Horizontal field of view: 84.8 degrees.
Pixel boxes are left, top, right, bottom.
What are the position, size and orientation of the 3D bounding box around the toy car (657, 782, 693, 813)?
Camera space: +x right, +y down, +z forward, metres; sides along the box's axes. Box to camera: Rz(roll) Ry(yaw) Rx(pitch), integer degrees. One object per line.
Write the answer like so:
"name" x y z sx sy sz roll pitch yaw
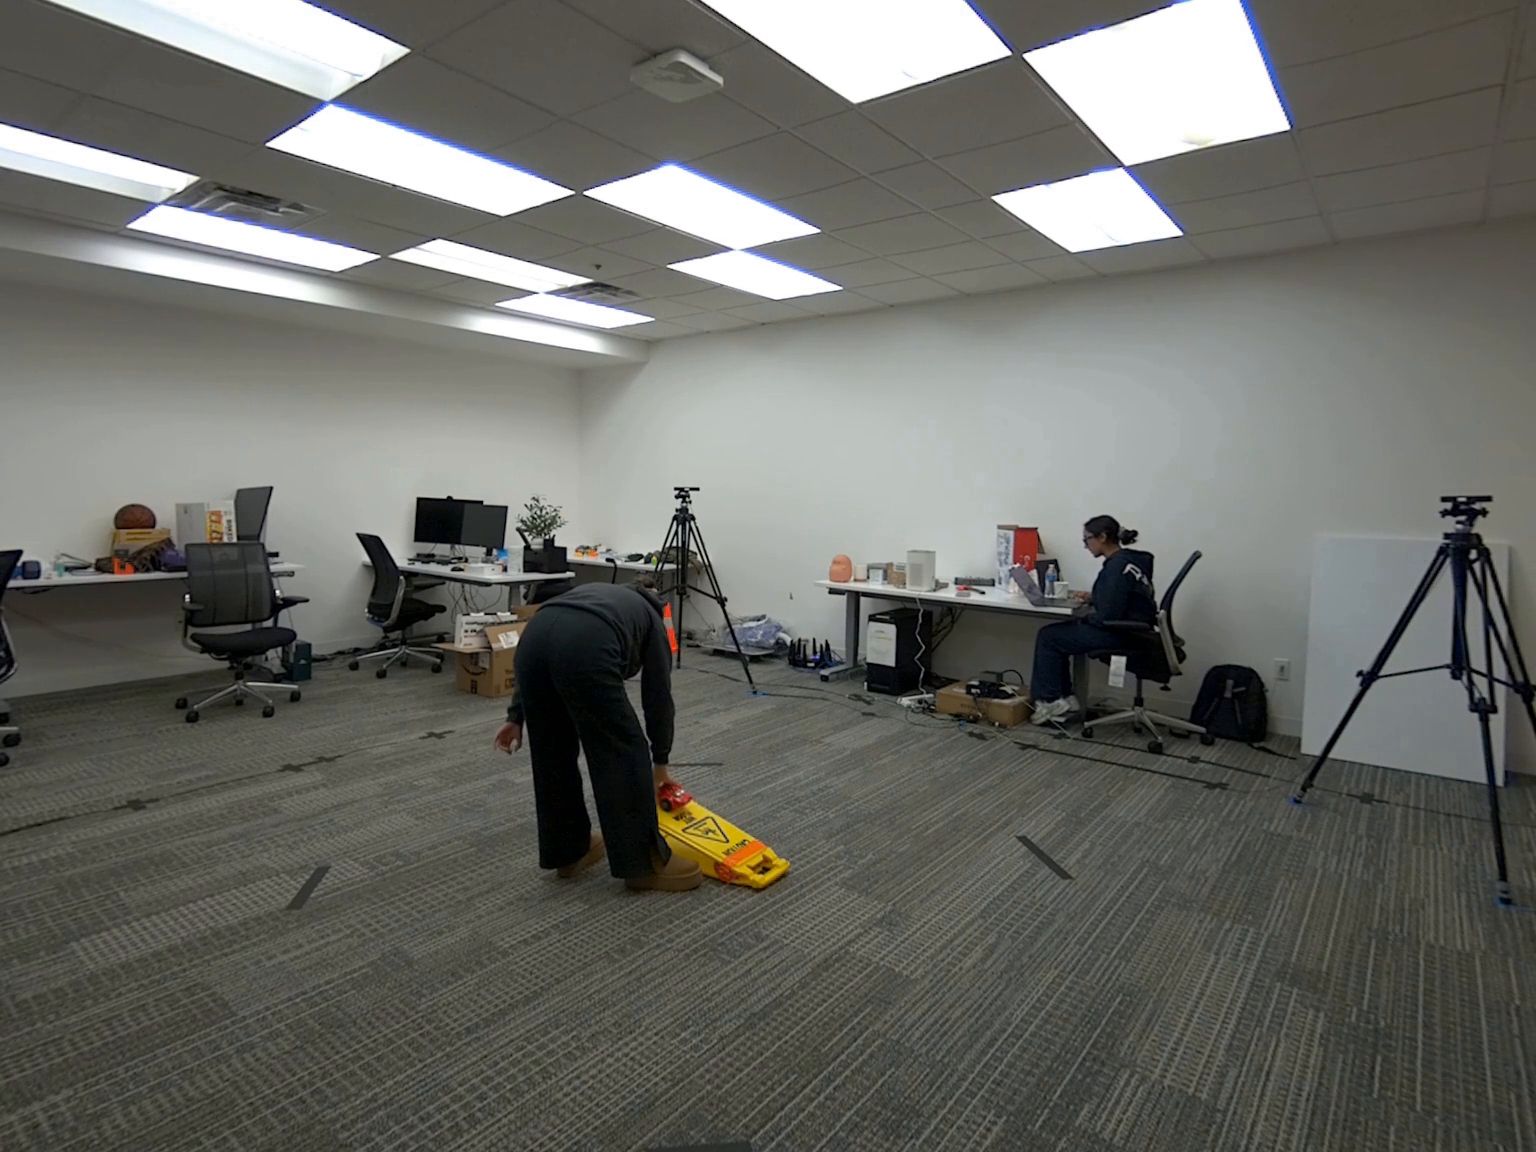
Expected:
"toy car" -0.413 0.851 3.312 0.262 0.083 0.127 1 6 31
